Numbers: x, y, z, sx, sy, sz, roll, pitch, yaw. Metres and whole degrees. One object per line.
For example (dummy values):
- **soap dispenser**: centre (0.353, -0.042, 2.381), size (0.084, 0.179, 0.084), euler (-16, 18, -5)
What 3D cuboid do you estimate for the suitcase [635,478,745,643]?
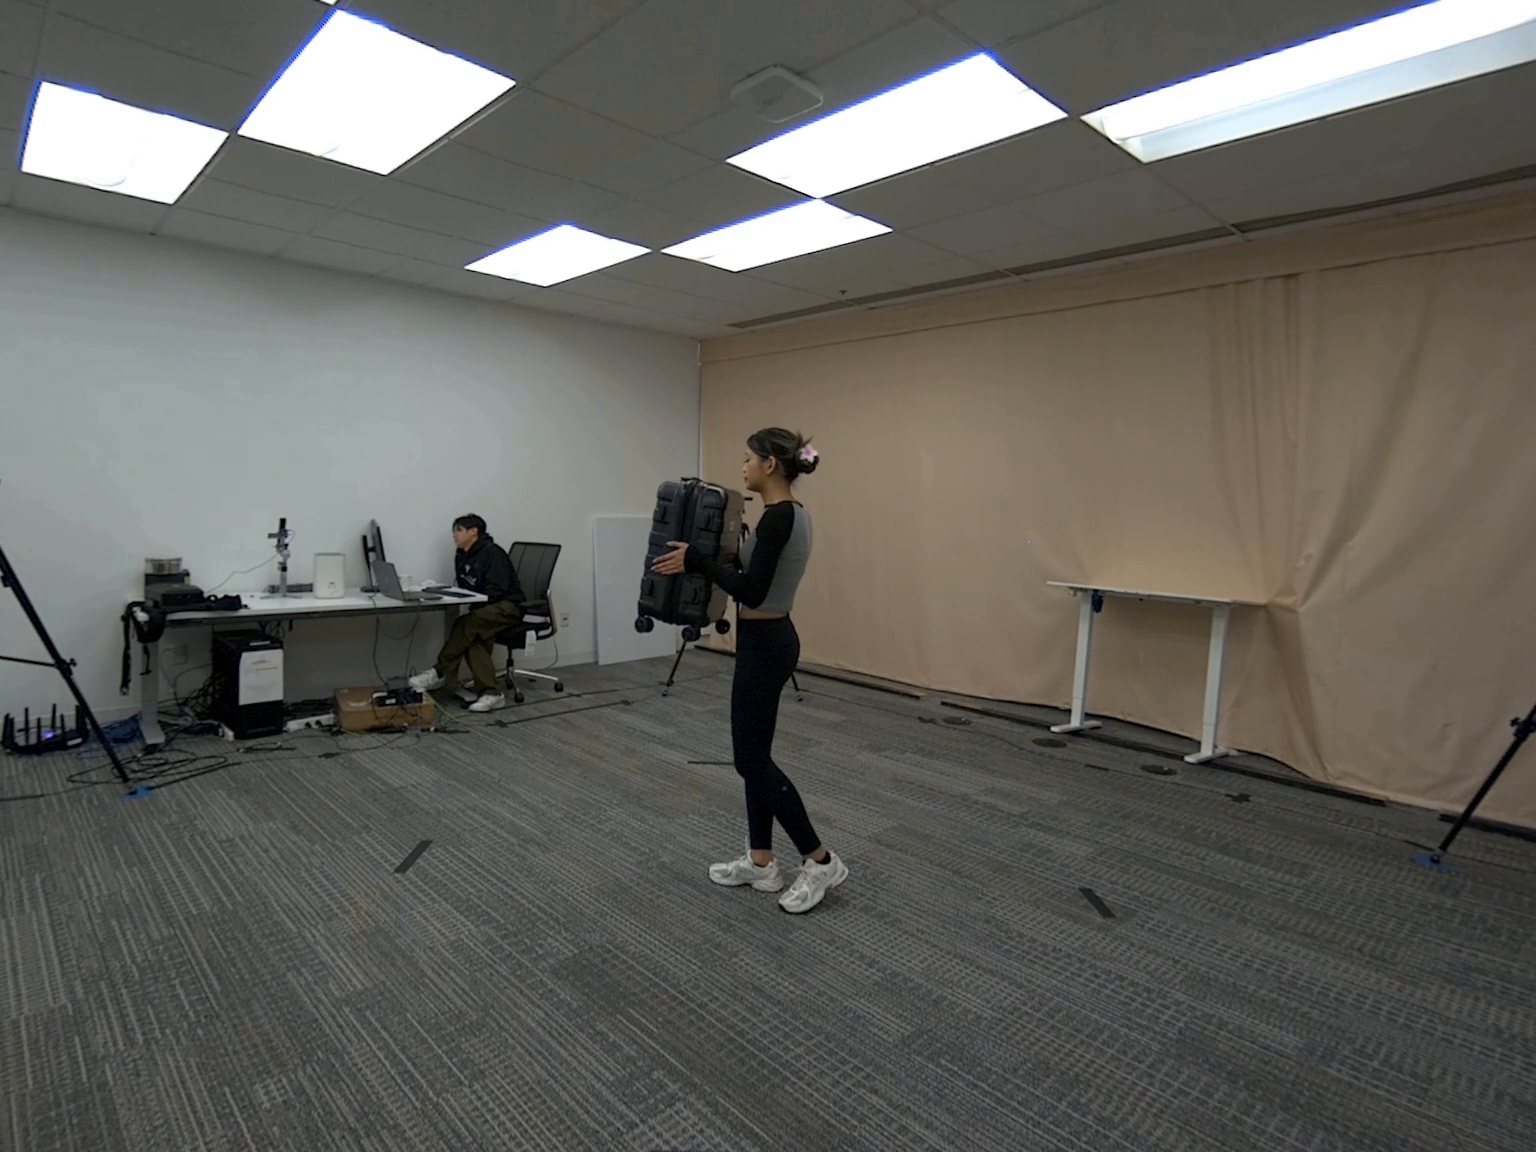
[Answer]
- **suitcase**: centre (-0.269, -0.074, 3.010), size (0.251, 0.548, 0.371), euler (10, 3, 13)
